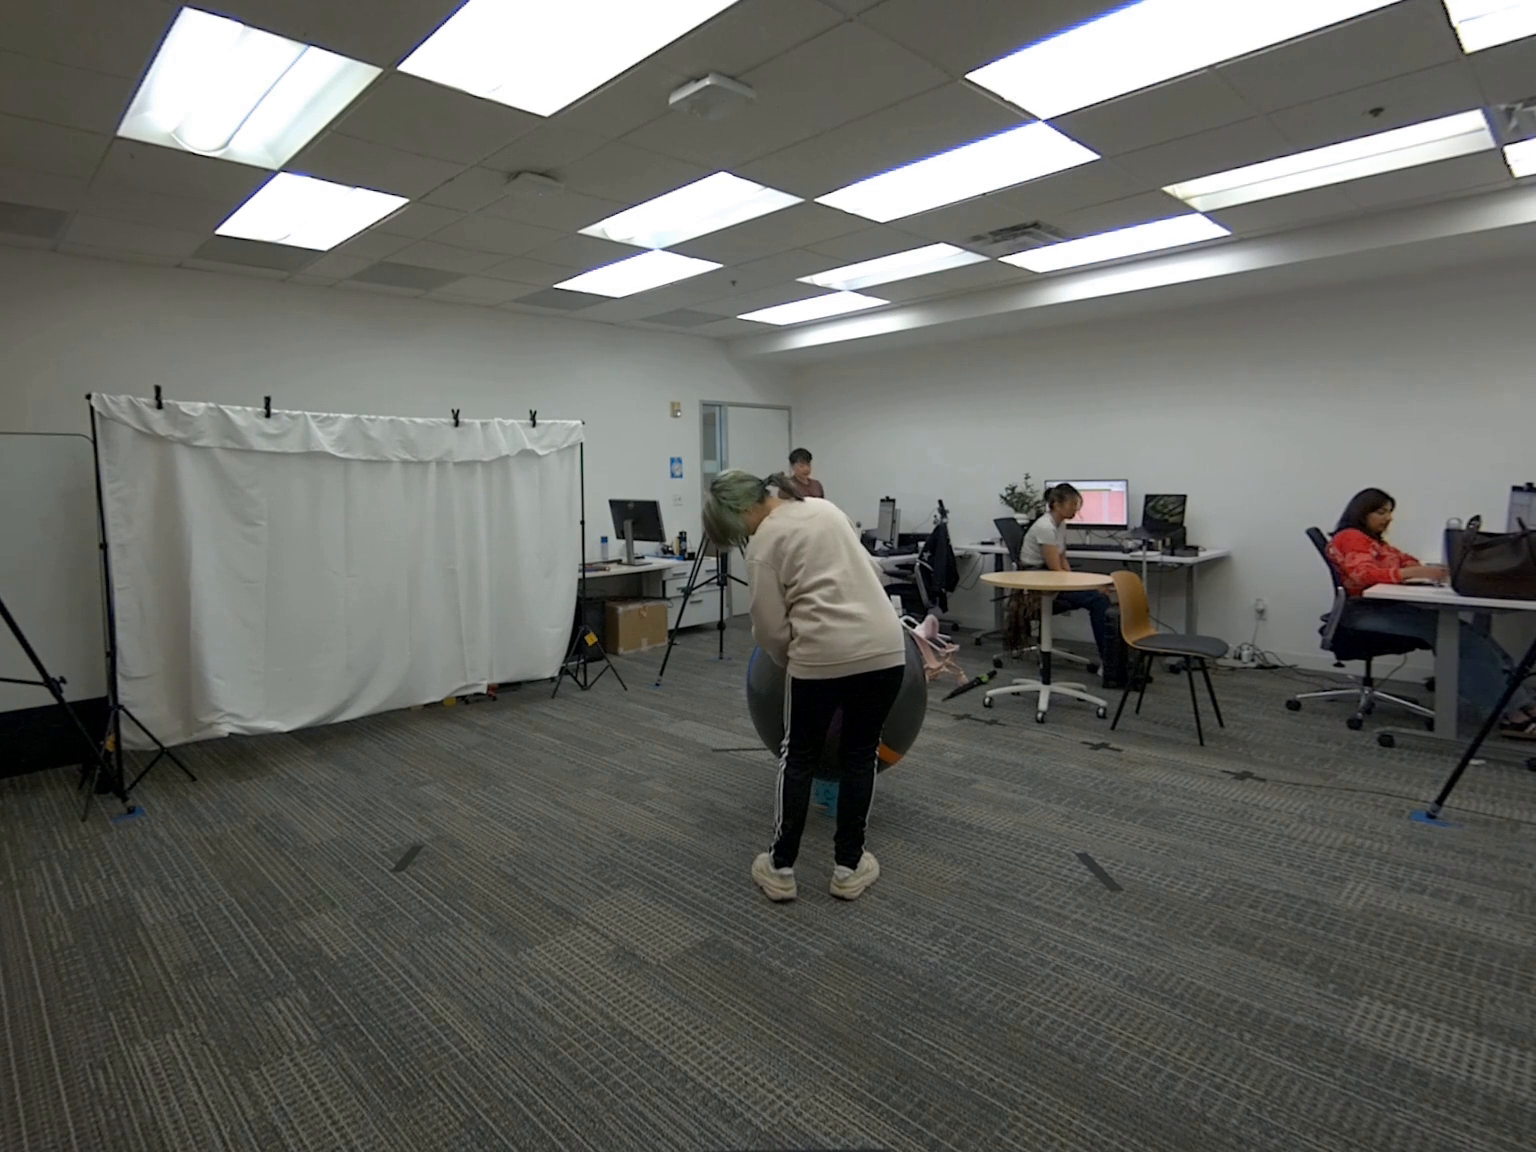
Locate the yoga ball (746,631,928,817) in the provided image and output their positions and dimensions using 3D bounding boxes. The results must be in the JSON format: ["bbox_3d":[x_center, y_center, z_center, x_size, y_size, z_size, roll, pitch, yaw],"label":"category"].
[{"bbox_3d":[0.286,0.477,3.601,0.757,0.755,0.762,-1,5,-2],"label":"yoga ball"}]
